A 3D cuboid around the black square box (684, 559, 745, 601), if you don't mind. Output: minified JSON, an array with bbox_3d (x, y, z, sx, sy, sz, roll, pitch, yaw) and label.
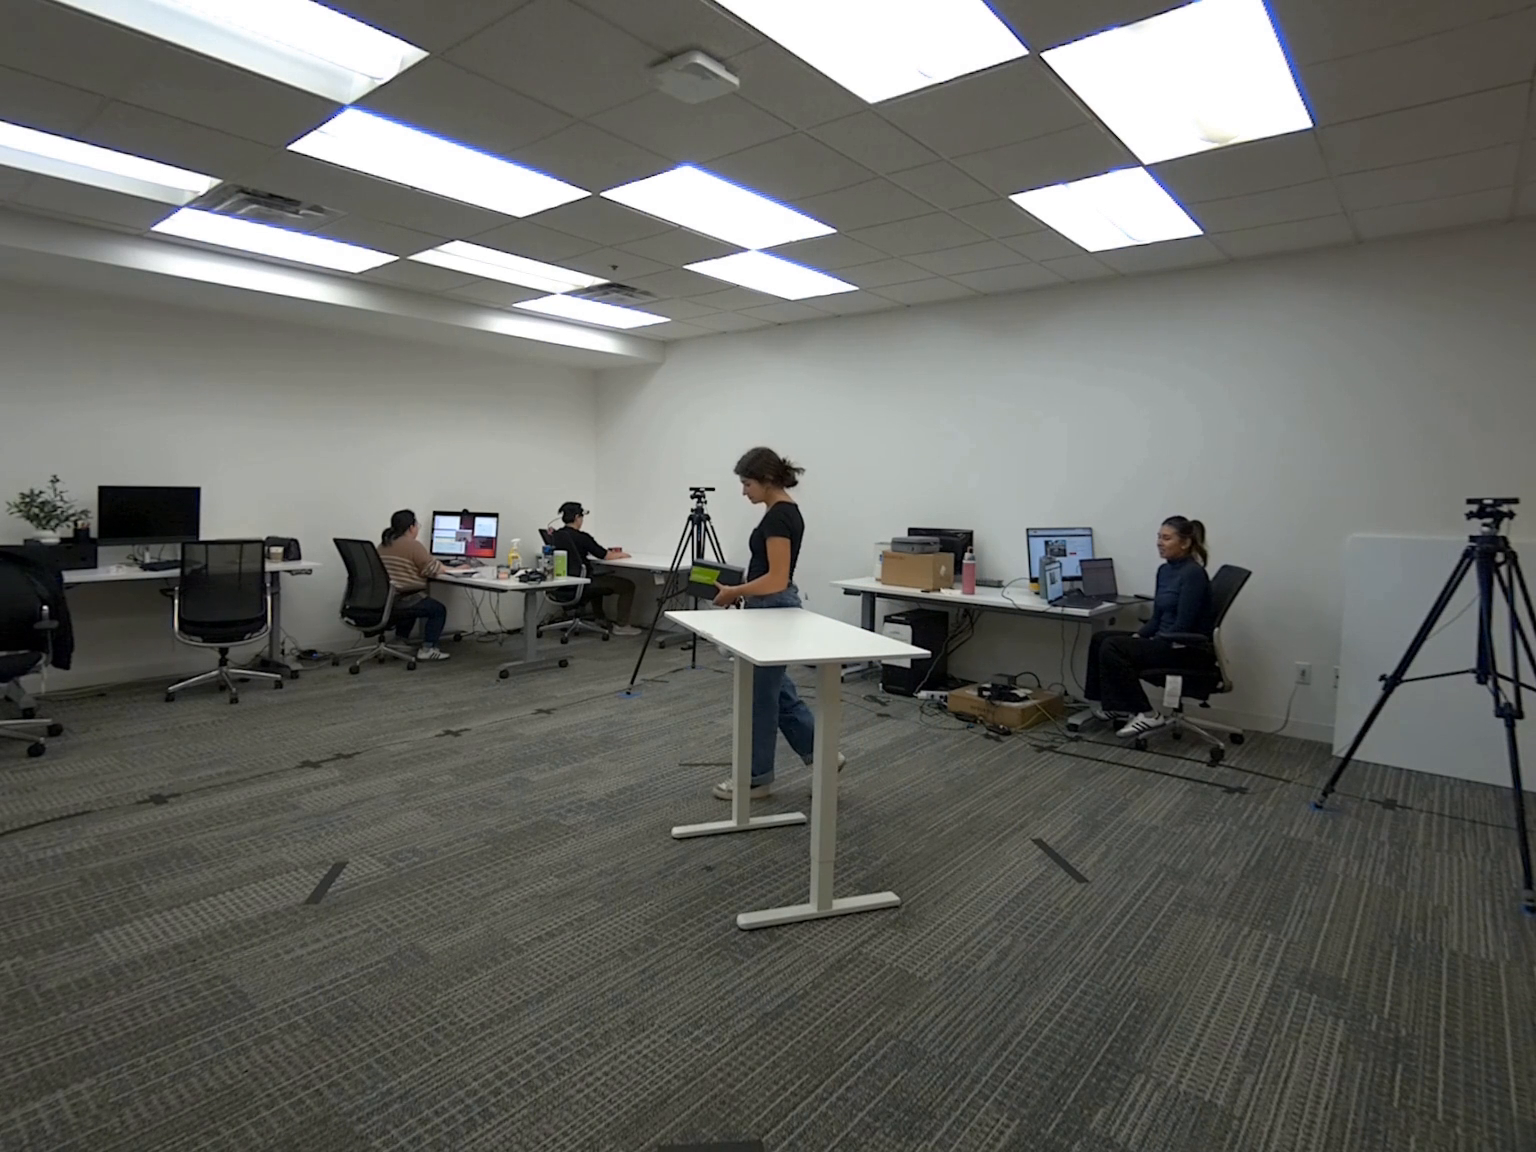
[{"bbox_3d":[-0.243,0.015,3.878,0.229,0.155,0.217,11,5,2],"label":"black square box"}]
